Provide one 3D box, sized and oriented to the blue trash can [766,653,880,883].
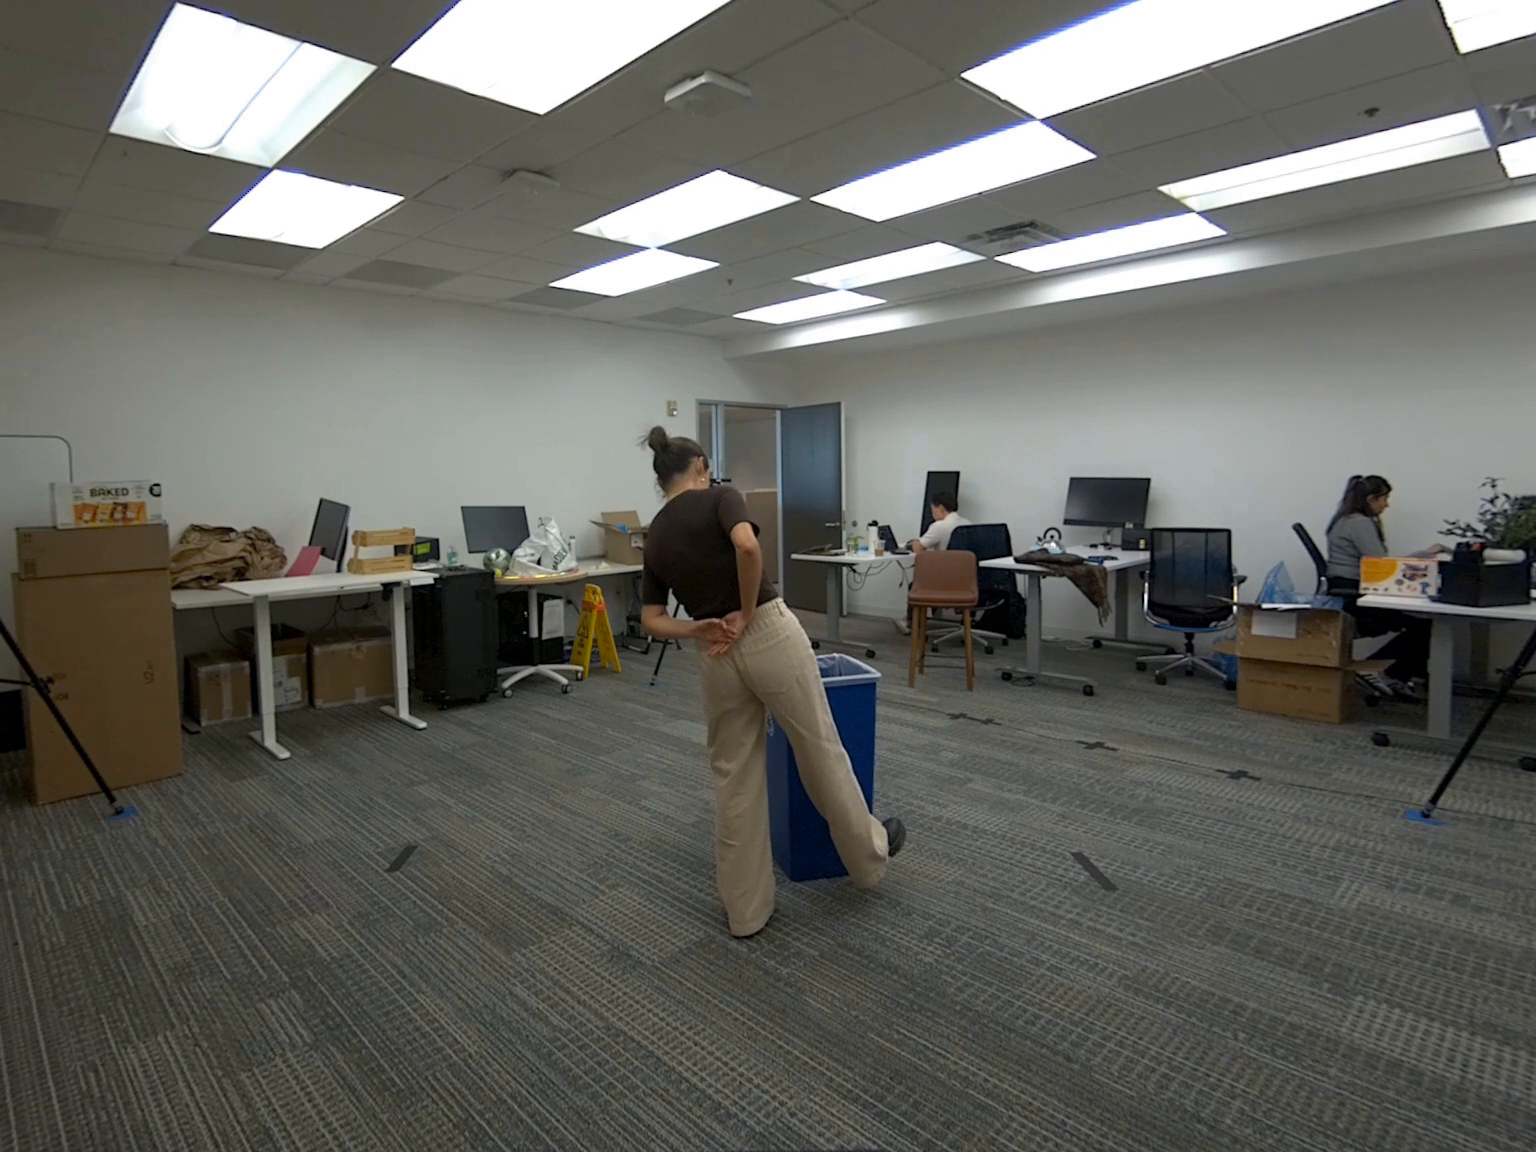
[{"bbox_3d":[0.174,0.680,3.104,0.368,0.711,0.385,-2,4,-18],"label":"blue trash can"}]
